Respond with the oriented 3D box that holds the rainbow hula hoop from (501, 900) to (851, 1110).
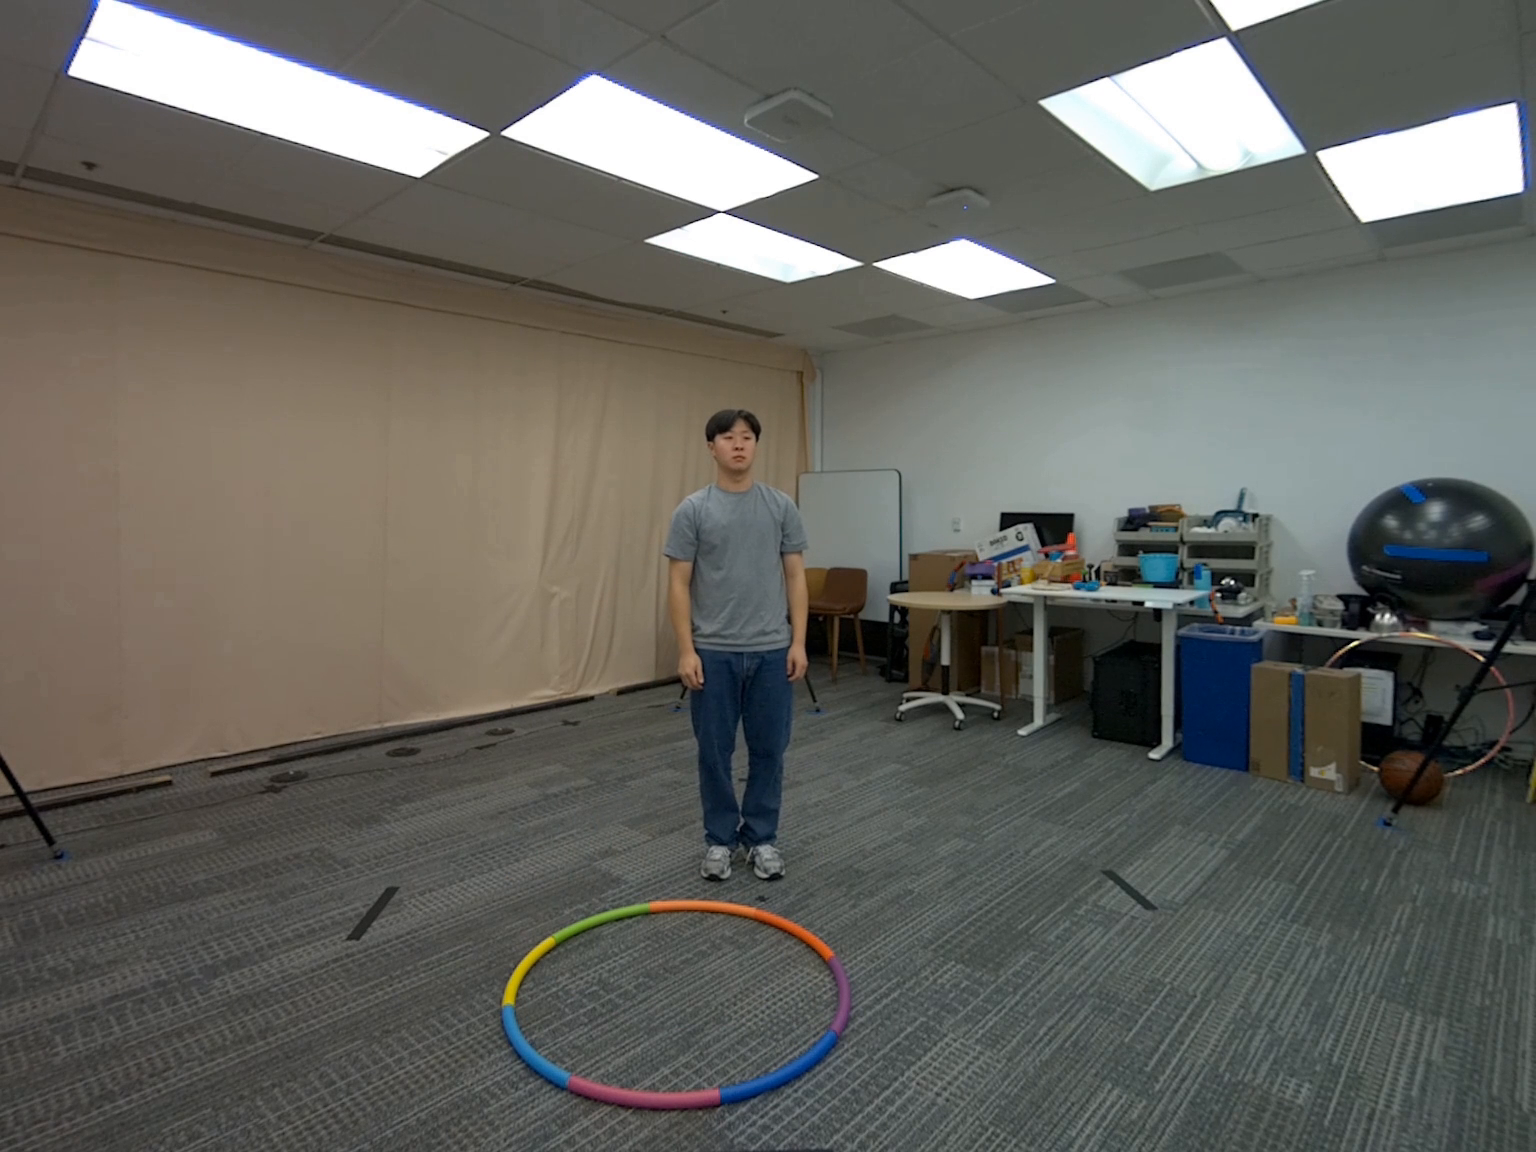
[{"bbox_3d":[-0.252,1.163,2.430,0.978,0.035,0.982,-1,5,-2],"label":"rainbow hula hoop"}]
